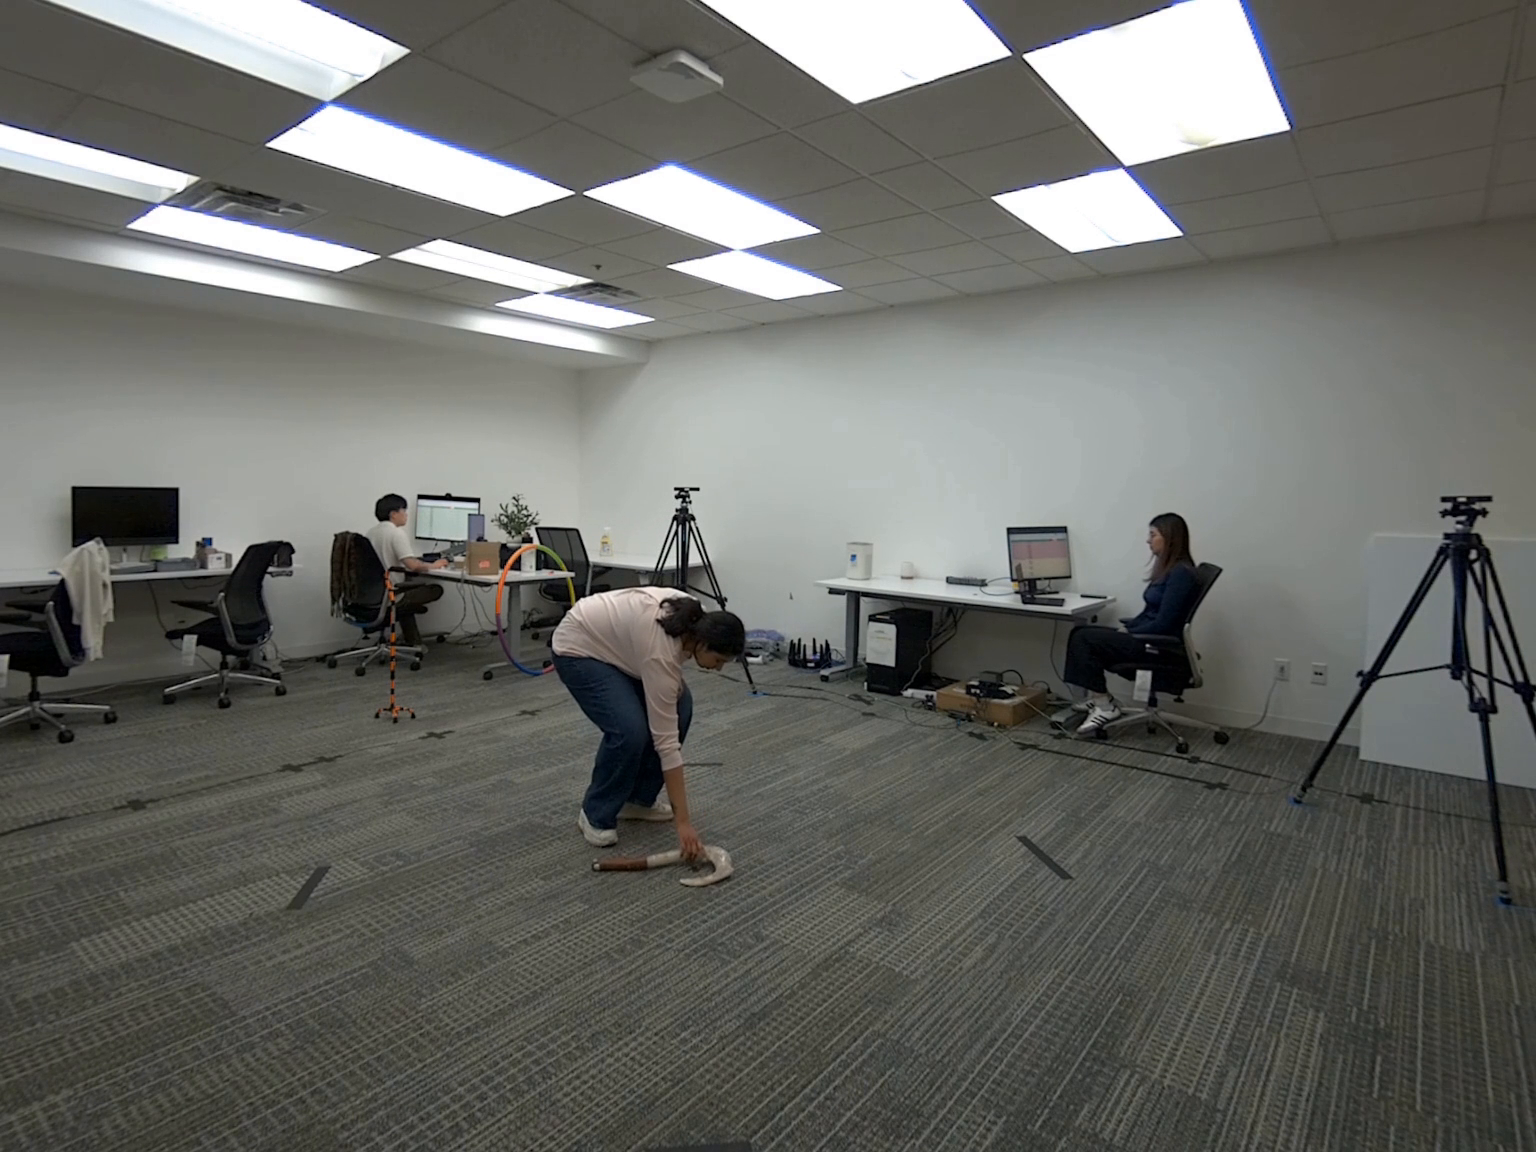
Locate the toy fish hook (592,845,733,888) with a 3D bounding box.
[{"bbox_3d":[-0.388,1.050,3.055,0.504,0.048,0.228,-3,10,-6],"label":"toy fish hook"}]
